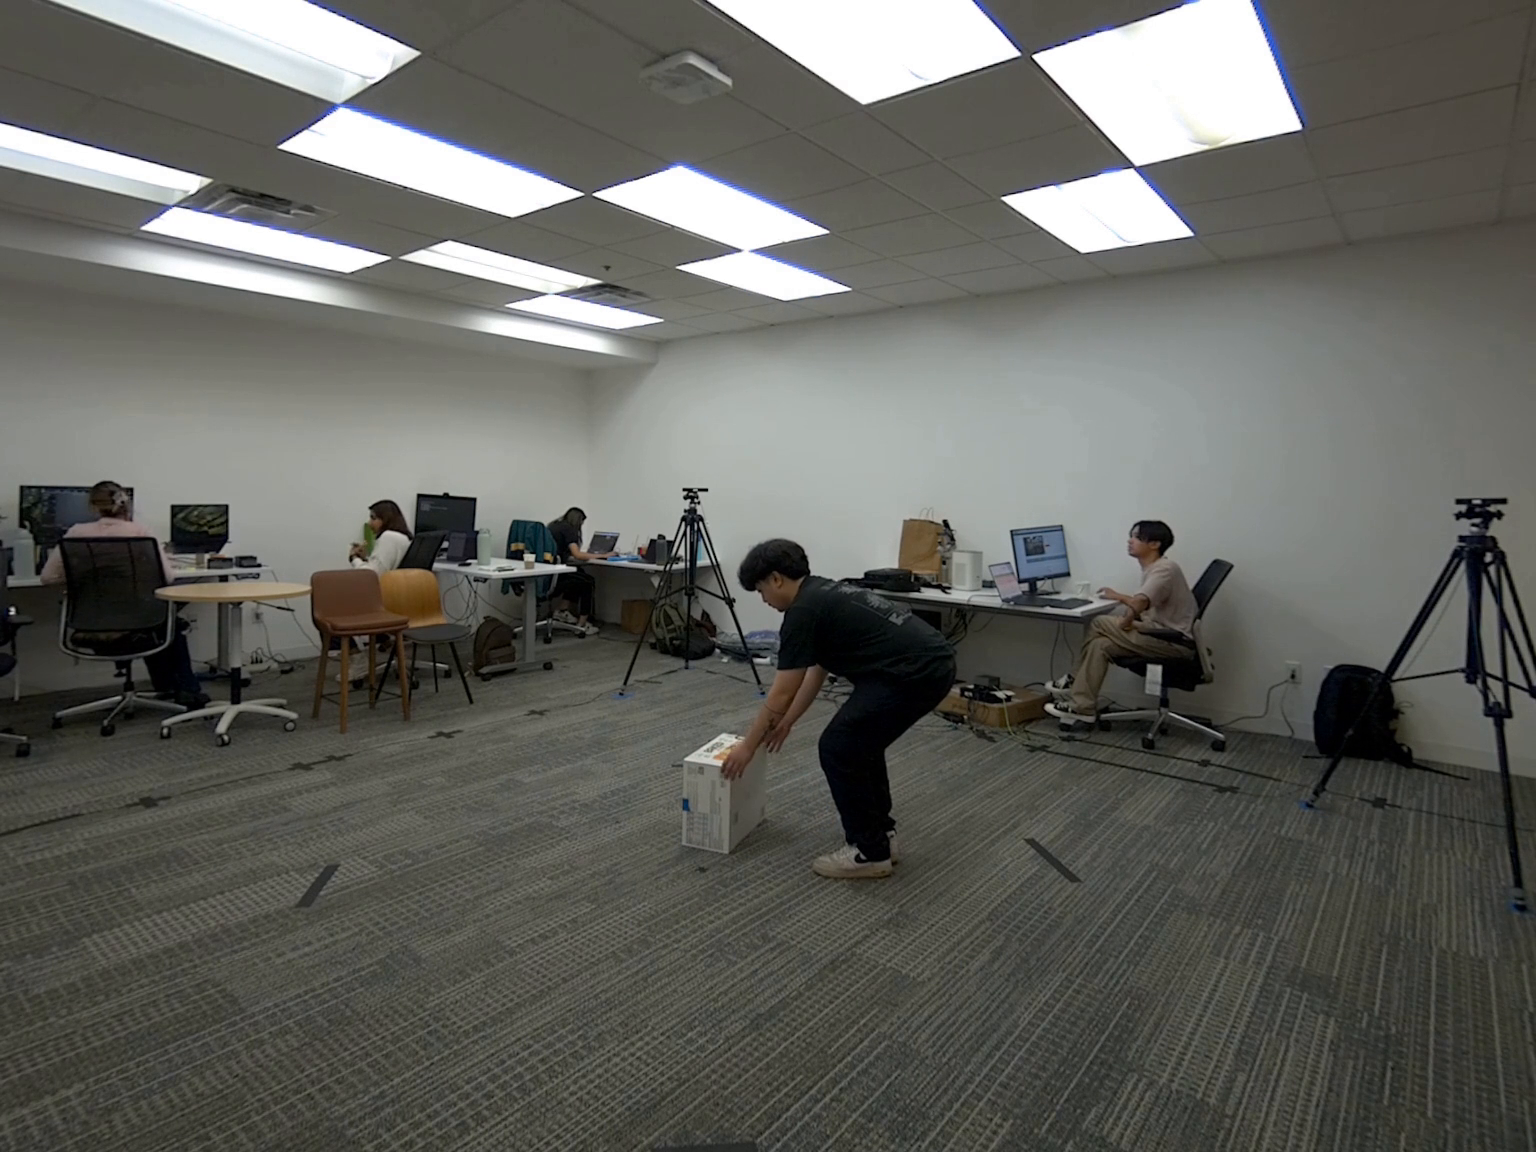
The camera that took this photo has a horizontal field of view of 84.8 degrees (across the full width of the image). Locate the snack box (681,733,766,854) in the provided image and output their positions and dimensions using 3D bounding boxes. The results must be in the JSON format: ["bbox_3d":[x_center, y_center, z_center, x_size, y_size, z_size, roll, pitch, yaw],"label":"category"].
[{"bbox_3d":[-0.180,0.866,3.451,0.210,0.339,0.397,3,5,21],"label":"snack box"}]
